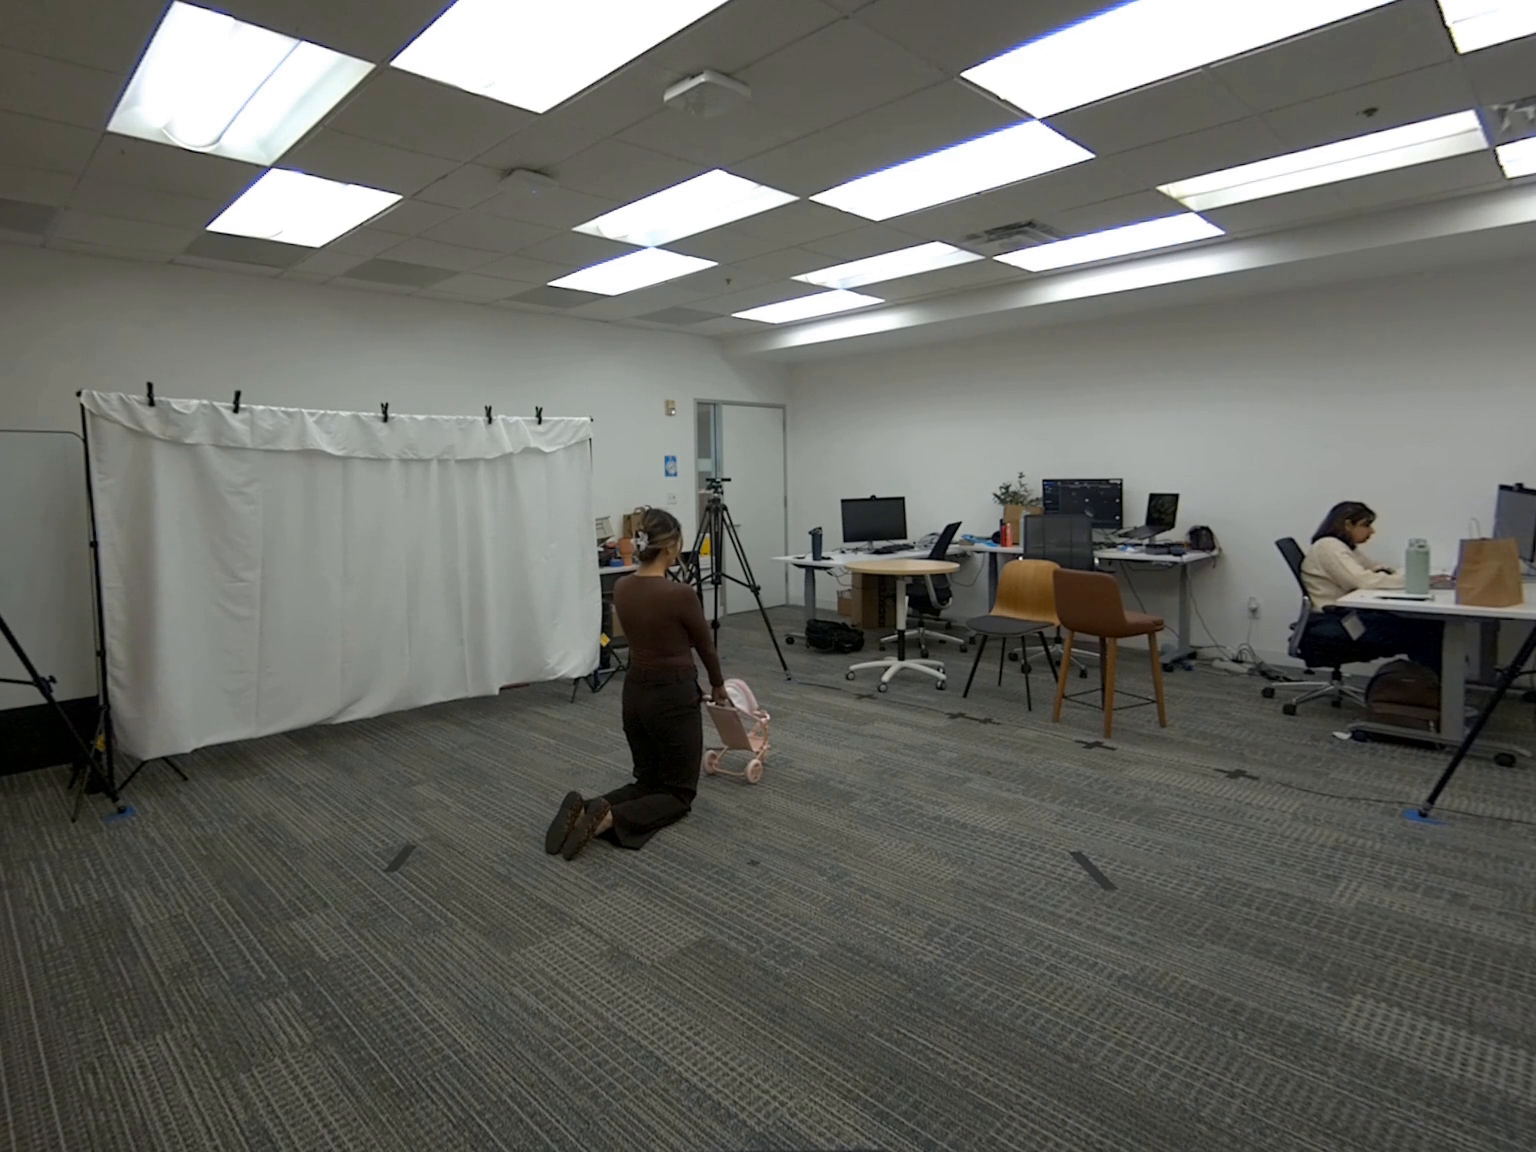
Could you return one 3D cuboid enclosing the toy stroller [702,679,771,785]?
[{"bbox_3d":[-0.135,0.716,4.029,0.290,0.525,0.337,3,23,39],"label":"toy stroller"}]
